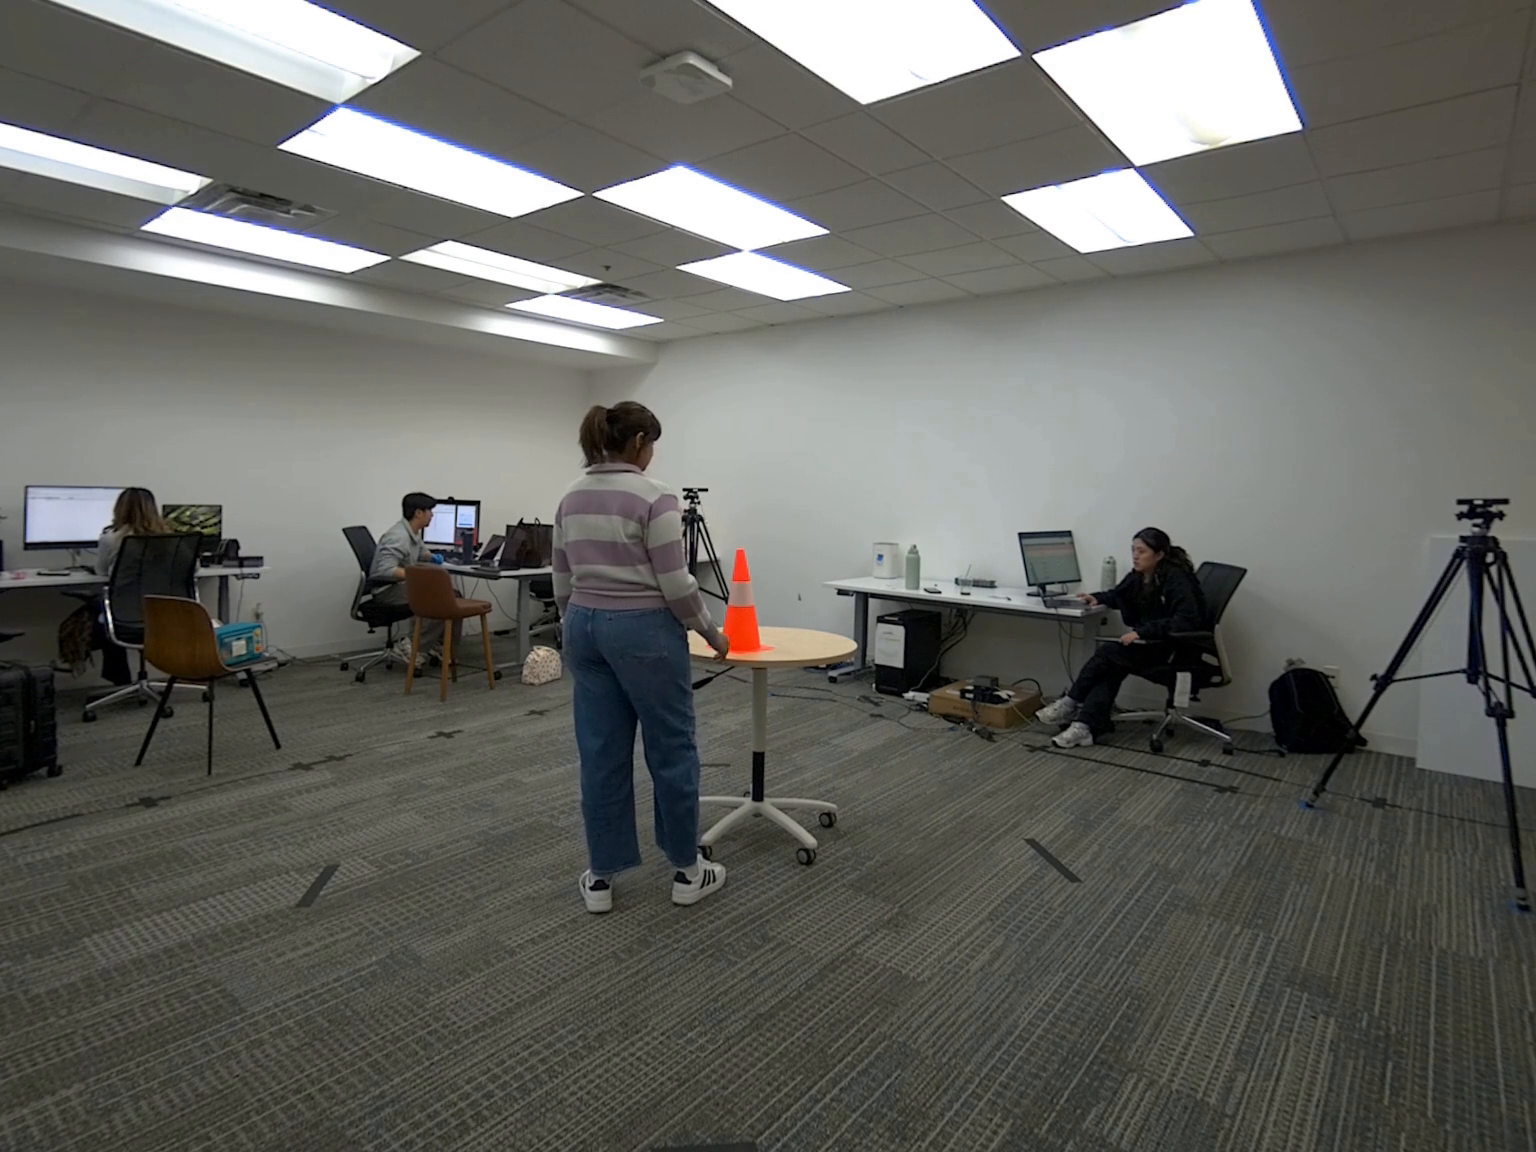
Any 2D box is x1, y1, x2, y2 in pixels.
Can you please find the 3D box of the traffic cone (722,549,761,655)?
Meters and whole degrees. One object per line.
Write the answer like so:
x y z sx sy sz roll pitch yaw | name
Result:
-0.109 0.087 3.266 0.209 0.383 0.200 3 3 25 | traffic cone
